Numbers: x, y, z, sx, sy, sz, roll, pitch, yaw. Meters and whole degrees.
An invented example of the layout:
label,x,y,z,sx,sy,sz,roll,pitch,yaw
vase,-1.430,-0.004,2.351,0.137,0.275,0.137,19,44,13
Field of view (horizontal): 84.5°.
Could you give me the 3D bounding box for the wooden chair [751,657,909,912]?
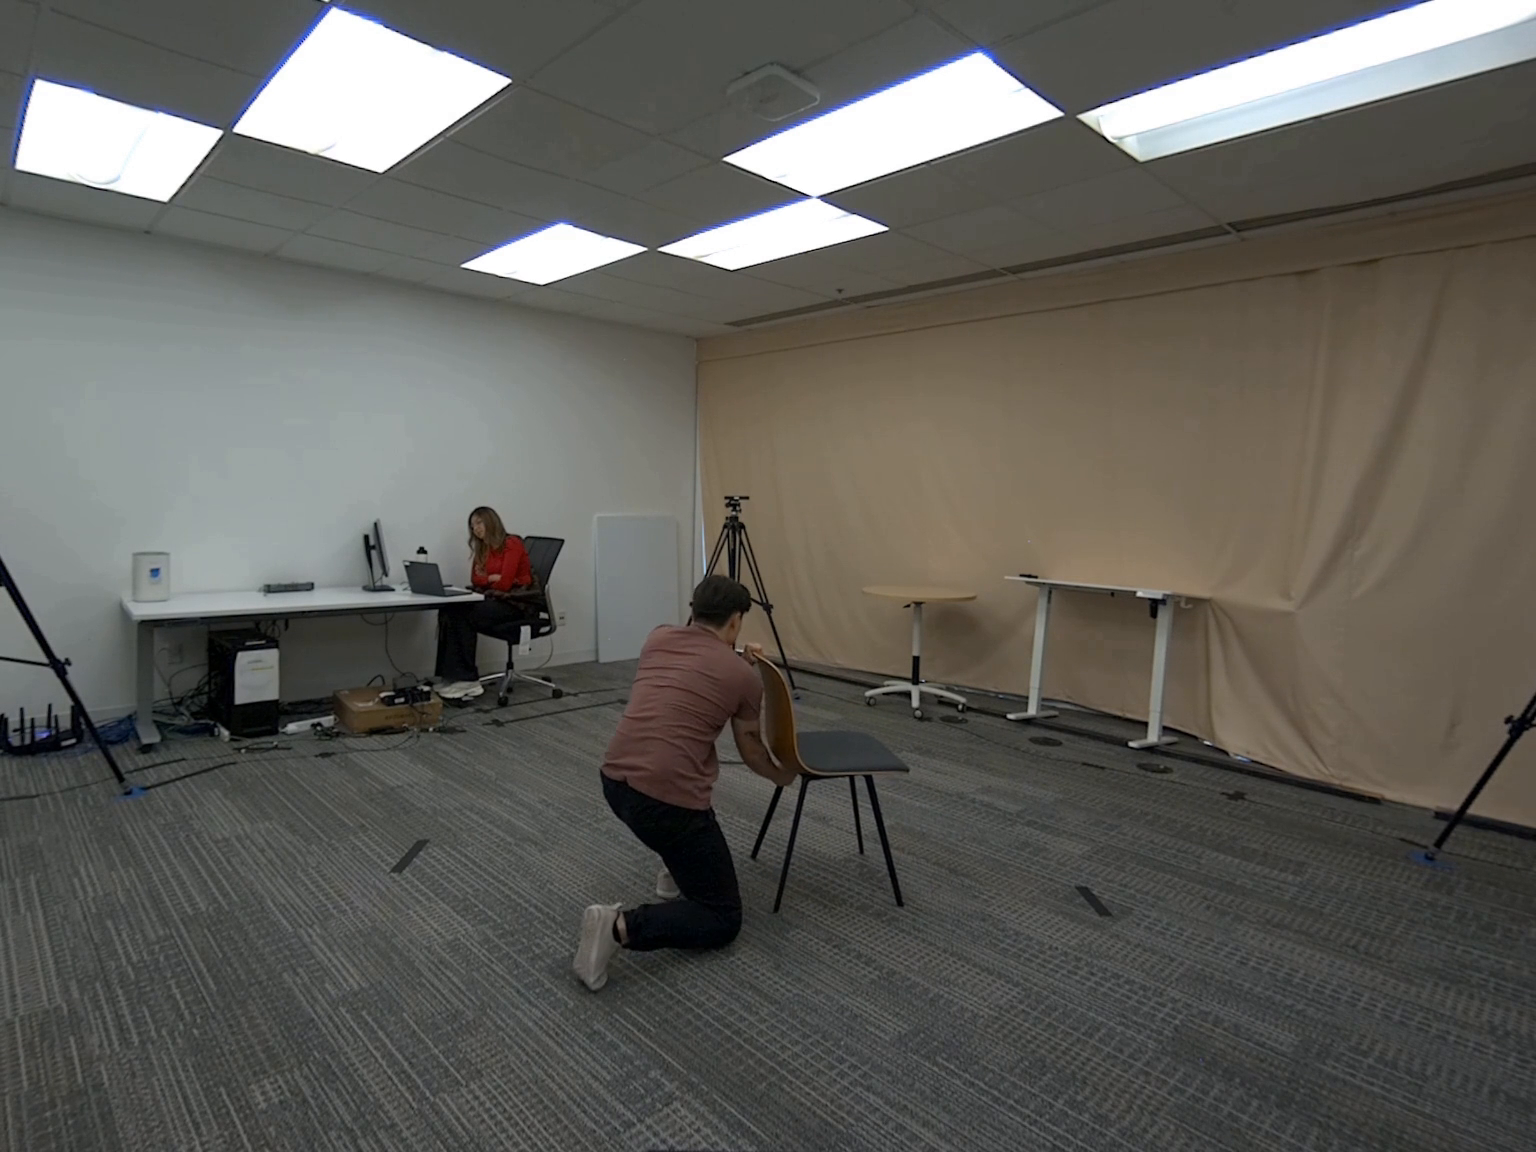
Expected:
label,x,y,z,sx,sy,sz,roll,pitch,yaw
wooden chair,0.214,0.688,3.057,0.519,0.875,0.483,-3,3,-10
